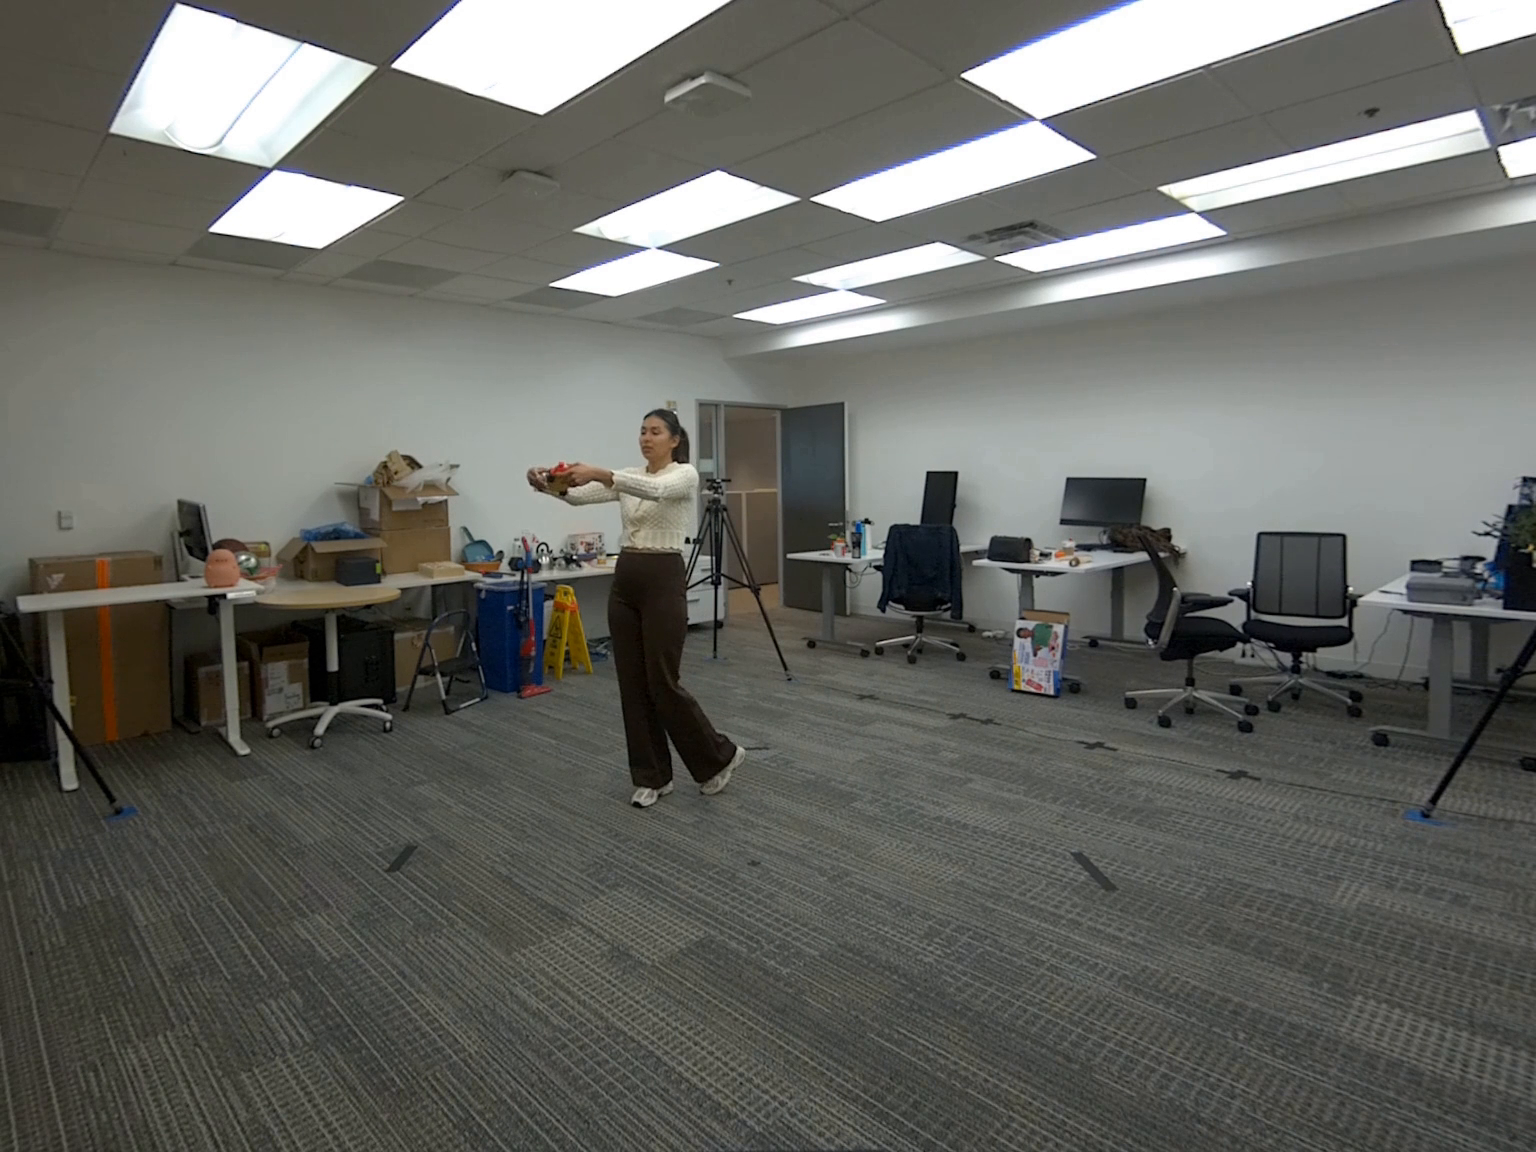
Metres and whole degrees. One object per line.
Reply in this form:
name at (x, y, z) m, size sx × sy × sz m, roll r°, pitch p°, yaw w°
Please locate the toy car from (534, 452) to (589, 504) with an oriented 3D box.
toy car at (-0.808, -0.381, 3.336) m, size 0.127 × 0.084 × 0.257 m, roll 13°, pitch -22°, yaw -26°
